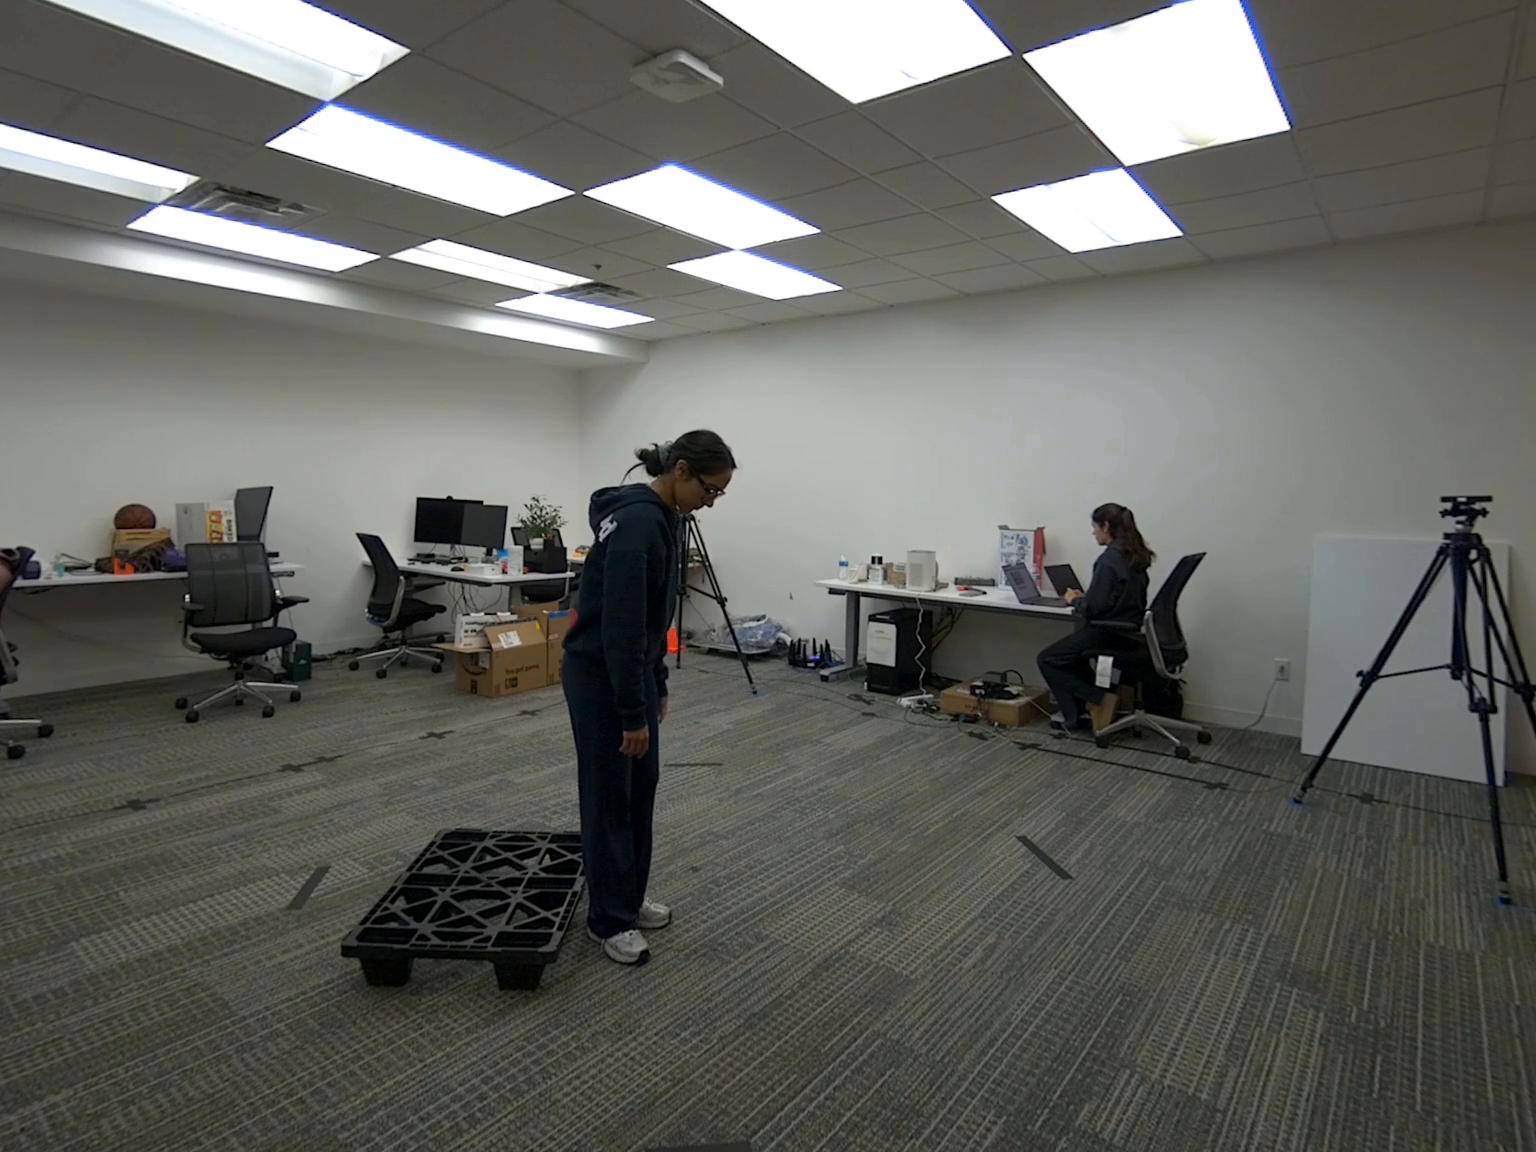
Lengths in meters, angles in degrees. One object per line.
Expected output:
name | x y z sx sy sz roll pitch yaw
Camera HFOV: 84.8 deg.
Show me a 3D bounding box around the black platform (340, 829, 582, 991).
black platform | -0.899 1.030 2.703 0.605 0.143 0.809 0 6 -1
